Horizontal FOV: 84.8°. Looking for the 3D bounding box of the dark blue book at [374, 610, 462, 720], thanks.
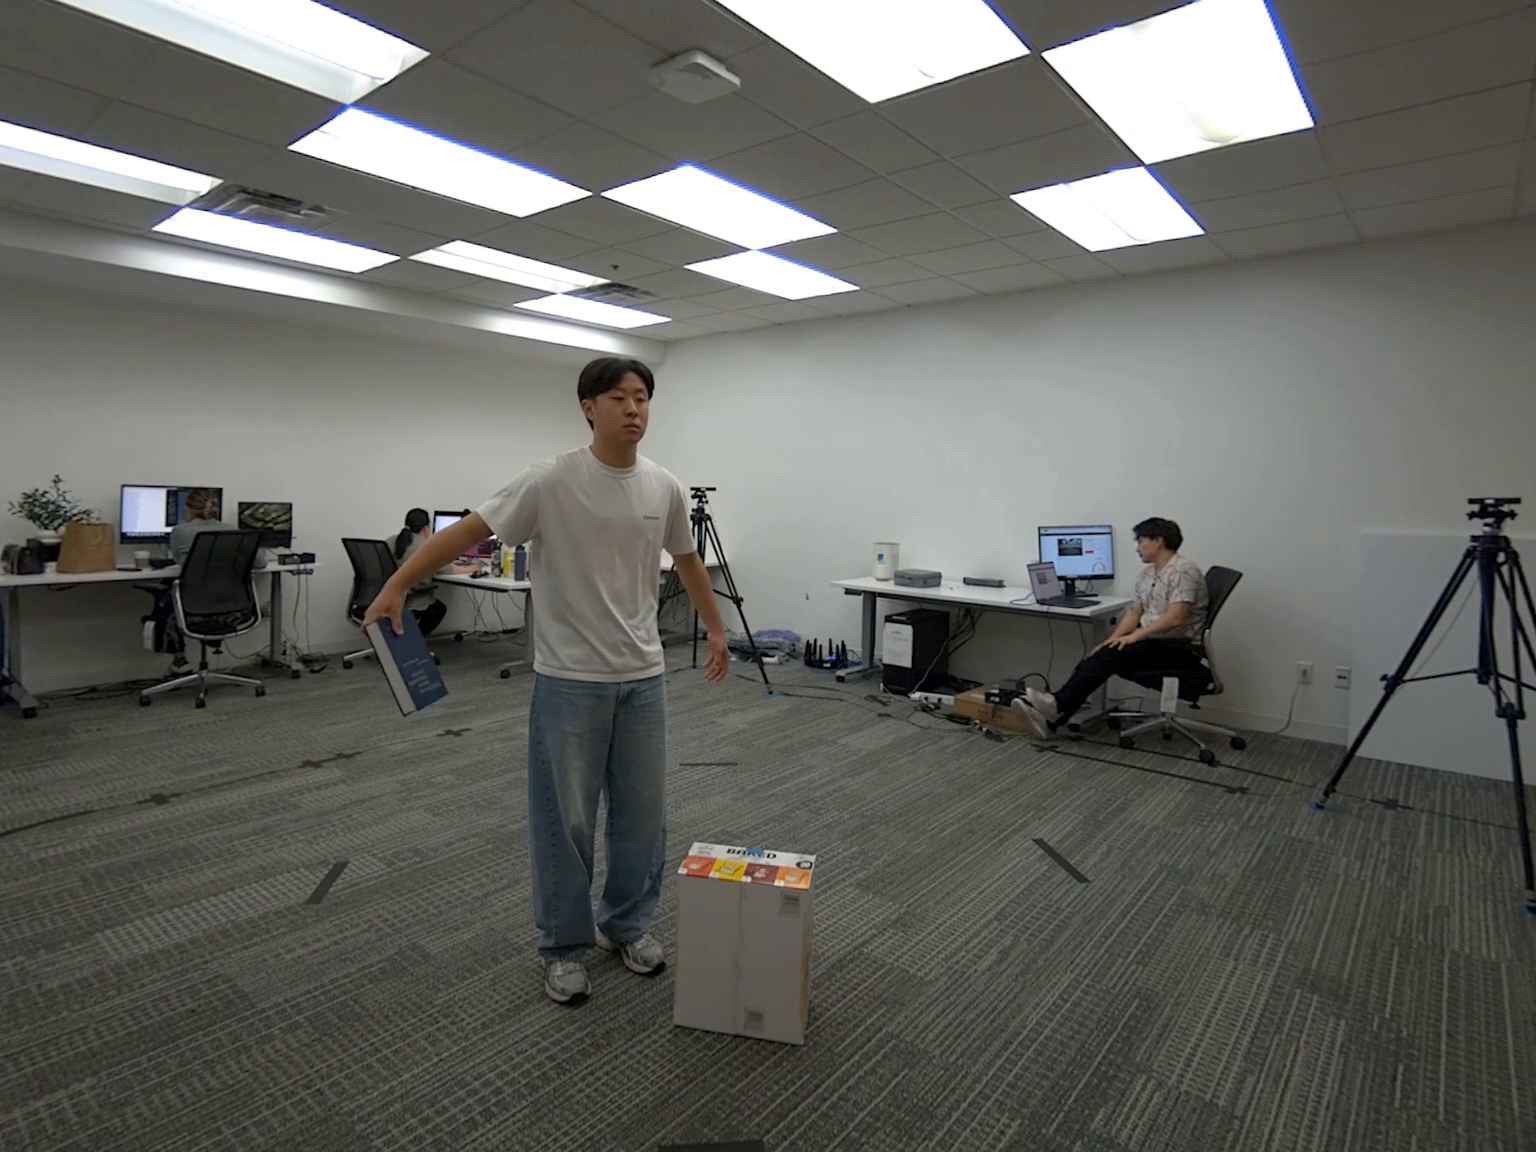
[{"bbox_3d":[-0.904,0.224,2.176,0.045,0.245,0.162,-23,2,12],"label":"dark blue book"}]
